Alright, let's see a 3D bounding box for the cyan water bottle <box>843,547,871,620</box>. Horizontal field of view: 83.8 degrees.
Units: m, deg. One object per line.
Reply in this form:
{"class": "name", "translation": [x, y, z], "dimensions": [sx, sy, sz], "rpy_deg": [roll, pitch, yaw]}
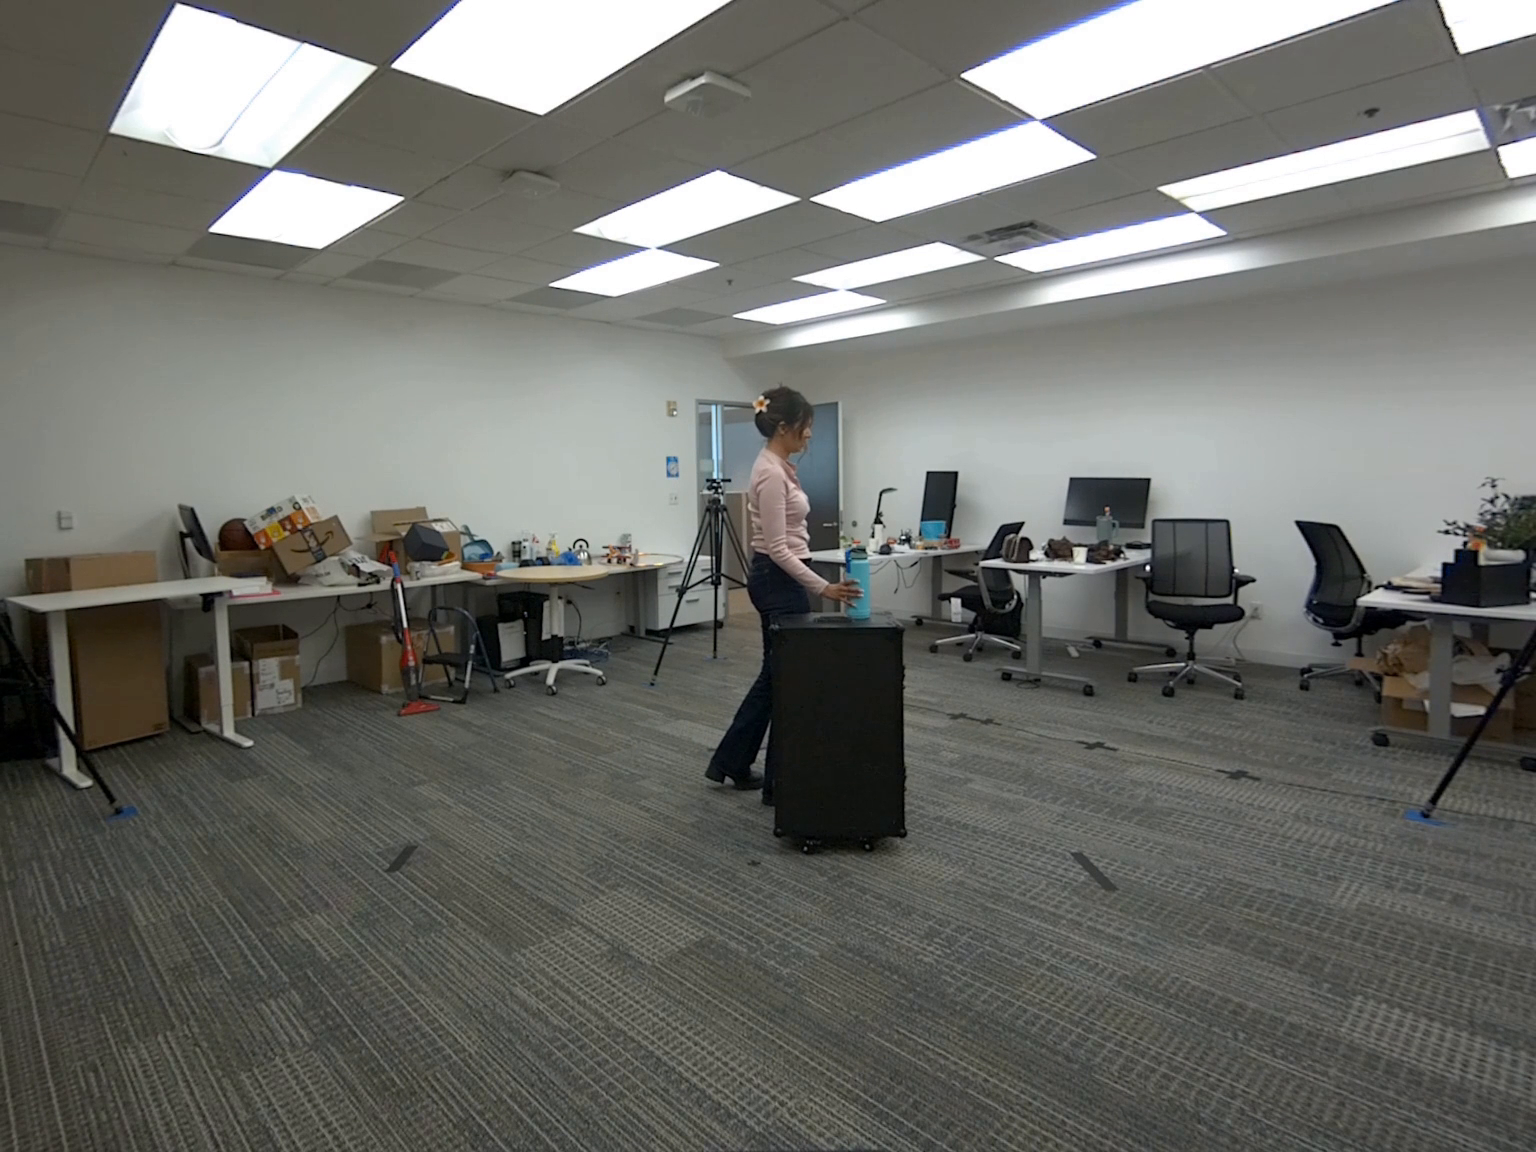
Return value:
{"class": "cyan water bottle", "translation": [0.355, 0.020, 3.333], "dimensions": [0.092, 0.281, 0.093], "rpy_deg": [-4, 8, -1]}
